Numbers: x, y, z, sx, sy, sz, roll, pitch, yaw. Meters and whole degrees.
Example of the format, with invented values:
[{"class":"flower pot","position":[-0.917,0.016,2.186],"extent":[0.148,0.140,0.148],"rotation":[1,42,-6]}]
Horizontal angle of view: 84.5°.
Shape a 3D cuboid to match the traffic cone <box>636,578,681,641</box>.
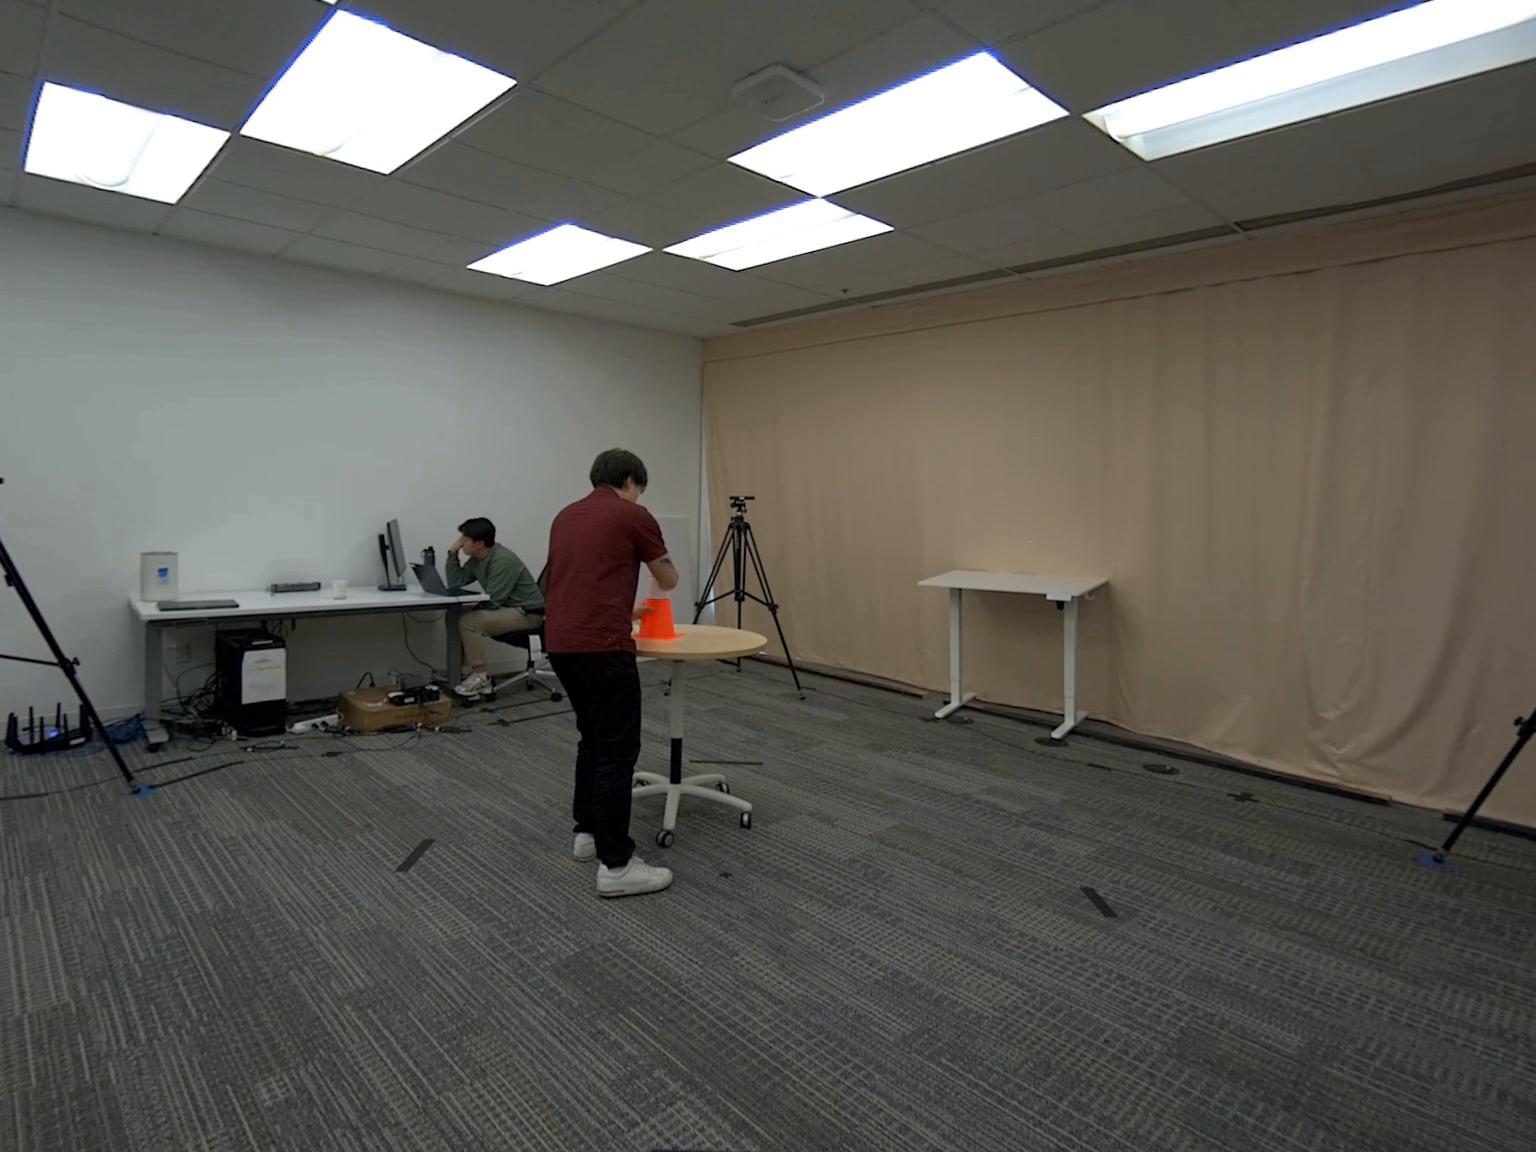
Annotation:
[{"class":"traffic cone","position":[-0.494,0.076,3.674],"extent":[0.205,0.383,0.203],"rotation":[3,1,9]}]
